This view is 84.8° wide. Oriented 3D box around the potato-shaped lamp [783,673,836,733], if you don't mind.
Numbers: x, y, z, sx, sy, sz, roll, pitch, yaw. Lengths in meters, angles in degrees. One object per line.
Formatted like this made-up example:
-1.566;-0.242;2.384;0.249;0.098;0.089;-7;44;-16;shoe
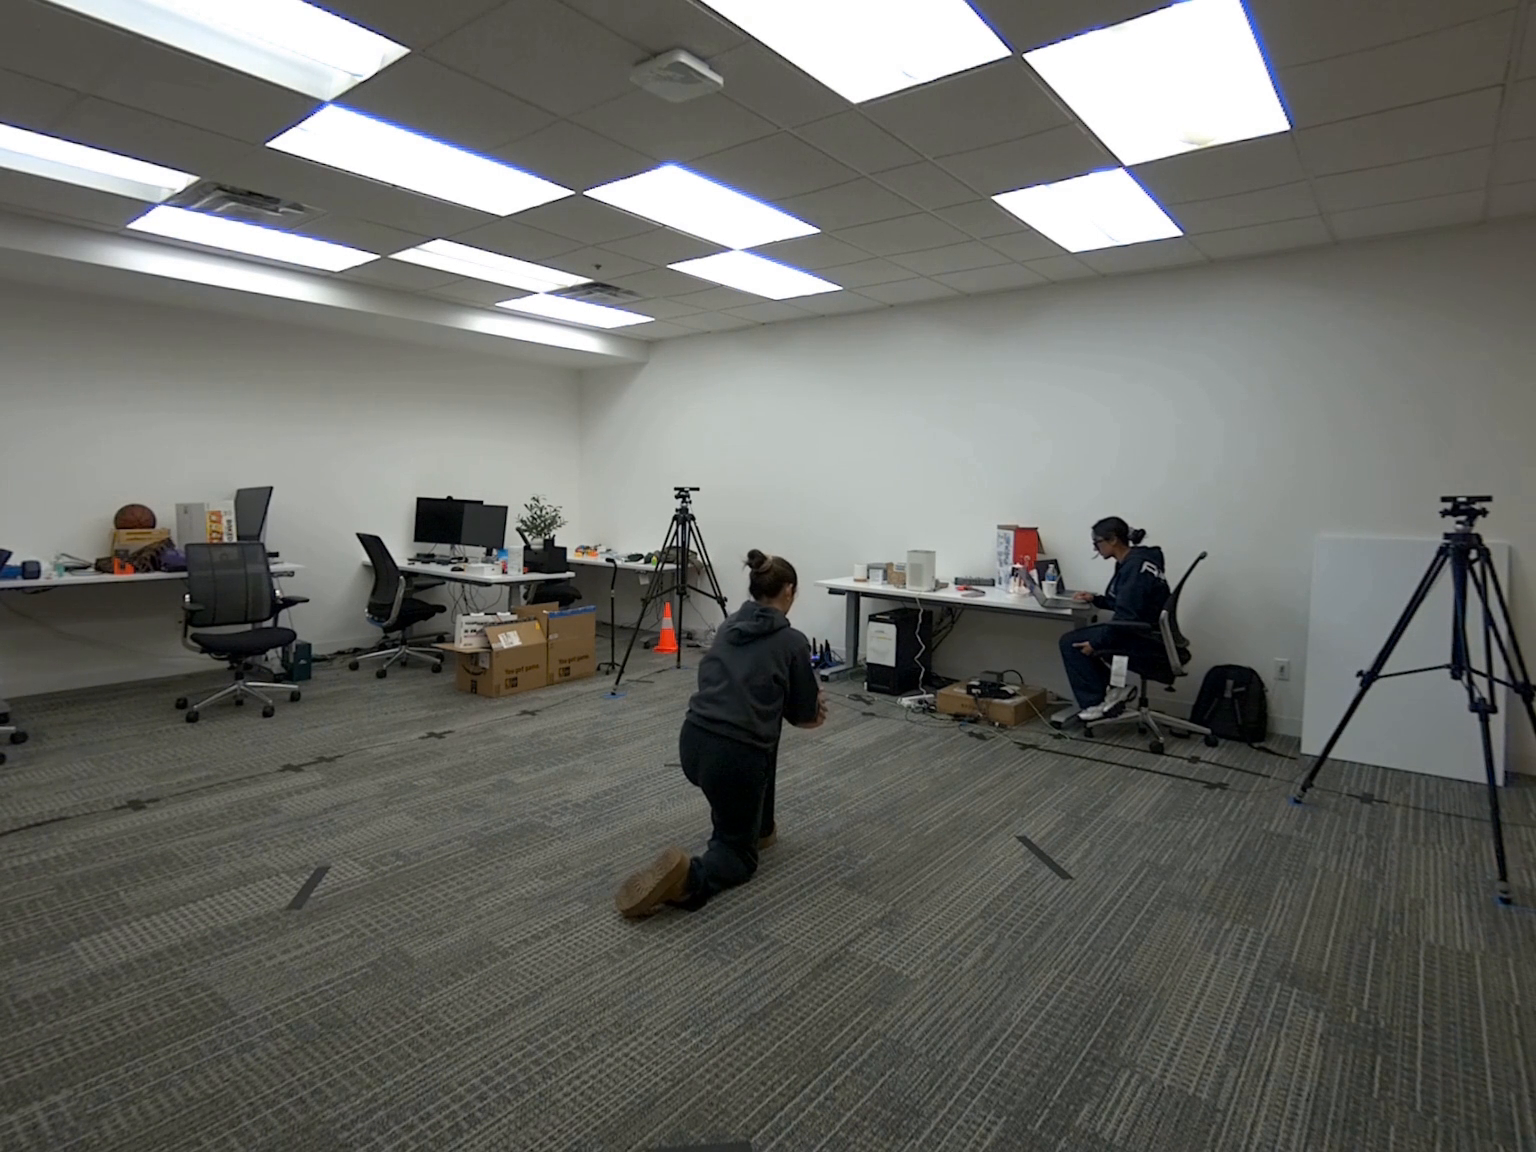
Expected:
0.154;0.512;3.472;0.170;0.197;0.166;7;5;36;potato-shaped lamp
